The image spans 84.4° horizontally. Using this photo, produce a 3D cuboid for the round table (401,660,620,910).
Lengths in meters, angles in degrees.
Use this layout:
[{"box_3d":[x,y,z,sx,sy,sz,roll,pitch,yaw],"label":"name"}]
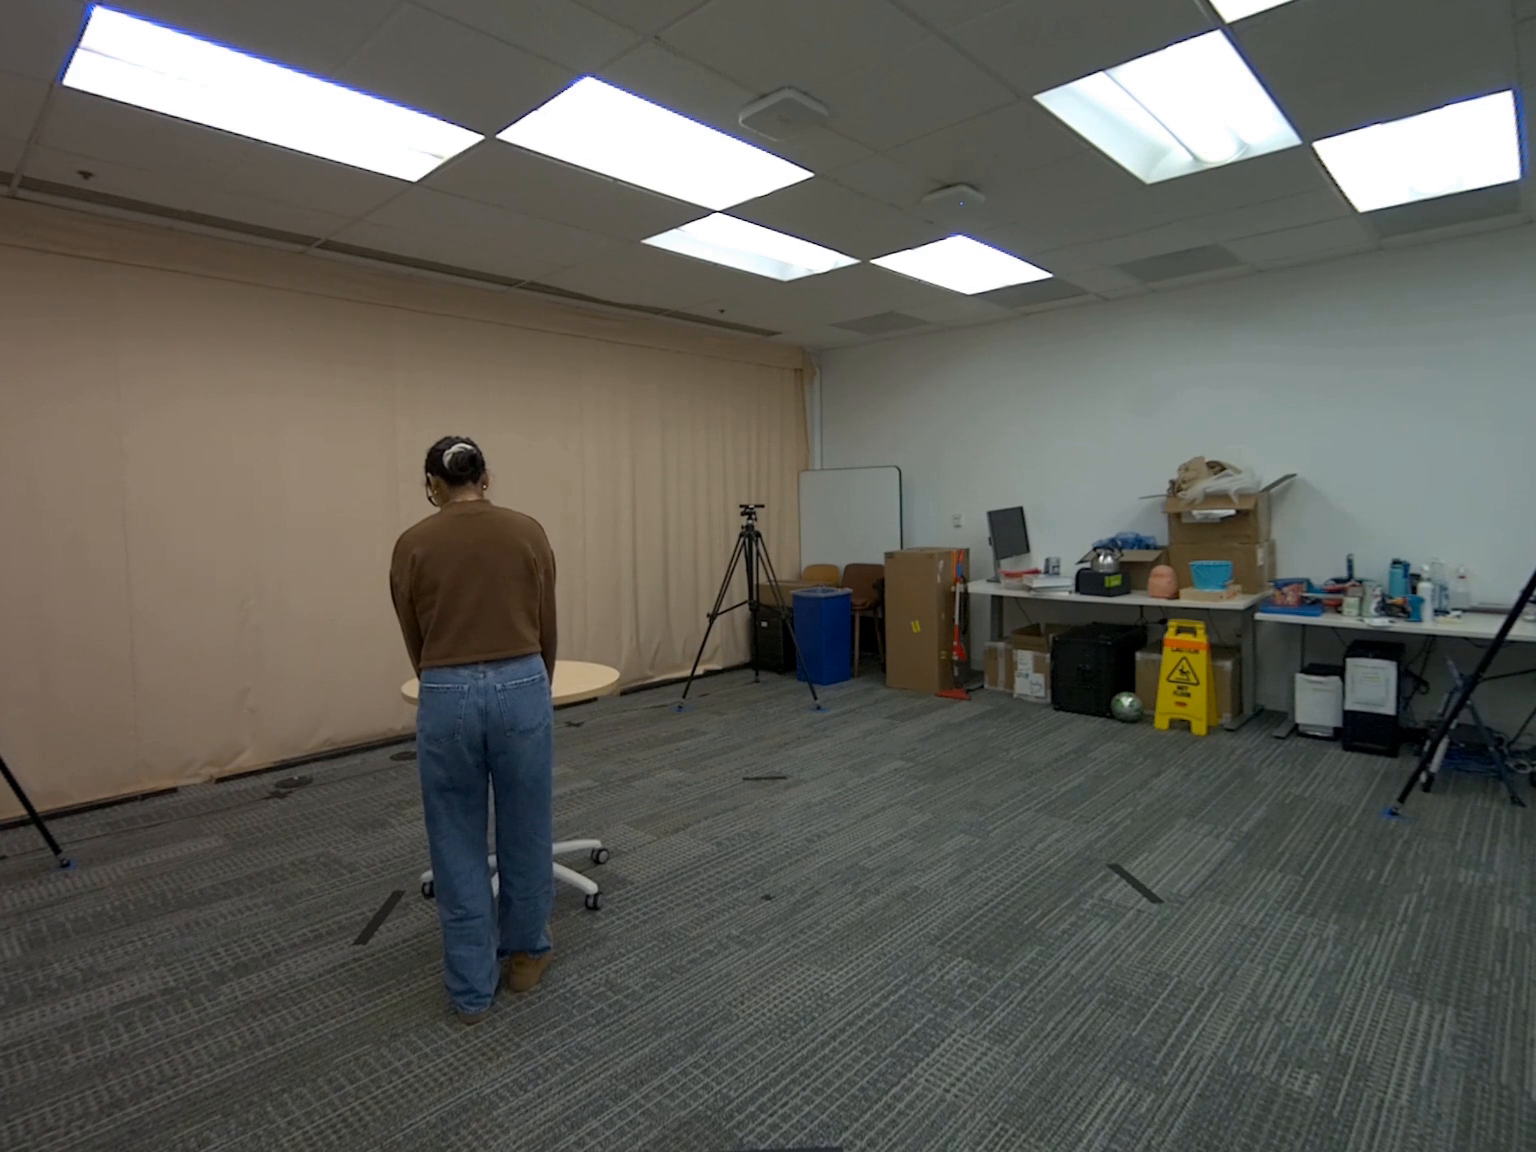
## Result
[{"box_3d":[-0.906,0.767,3.060,0.763,0.792,0.766,-1,3,-2],"label":"round table"}]
